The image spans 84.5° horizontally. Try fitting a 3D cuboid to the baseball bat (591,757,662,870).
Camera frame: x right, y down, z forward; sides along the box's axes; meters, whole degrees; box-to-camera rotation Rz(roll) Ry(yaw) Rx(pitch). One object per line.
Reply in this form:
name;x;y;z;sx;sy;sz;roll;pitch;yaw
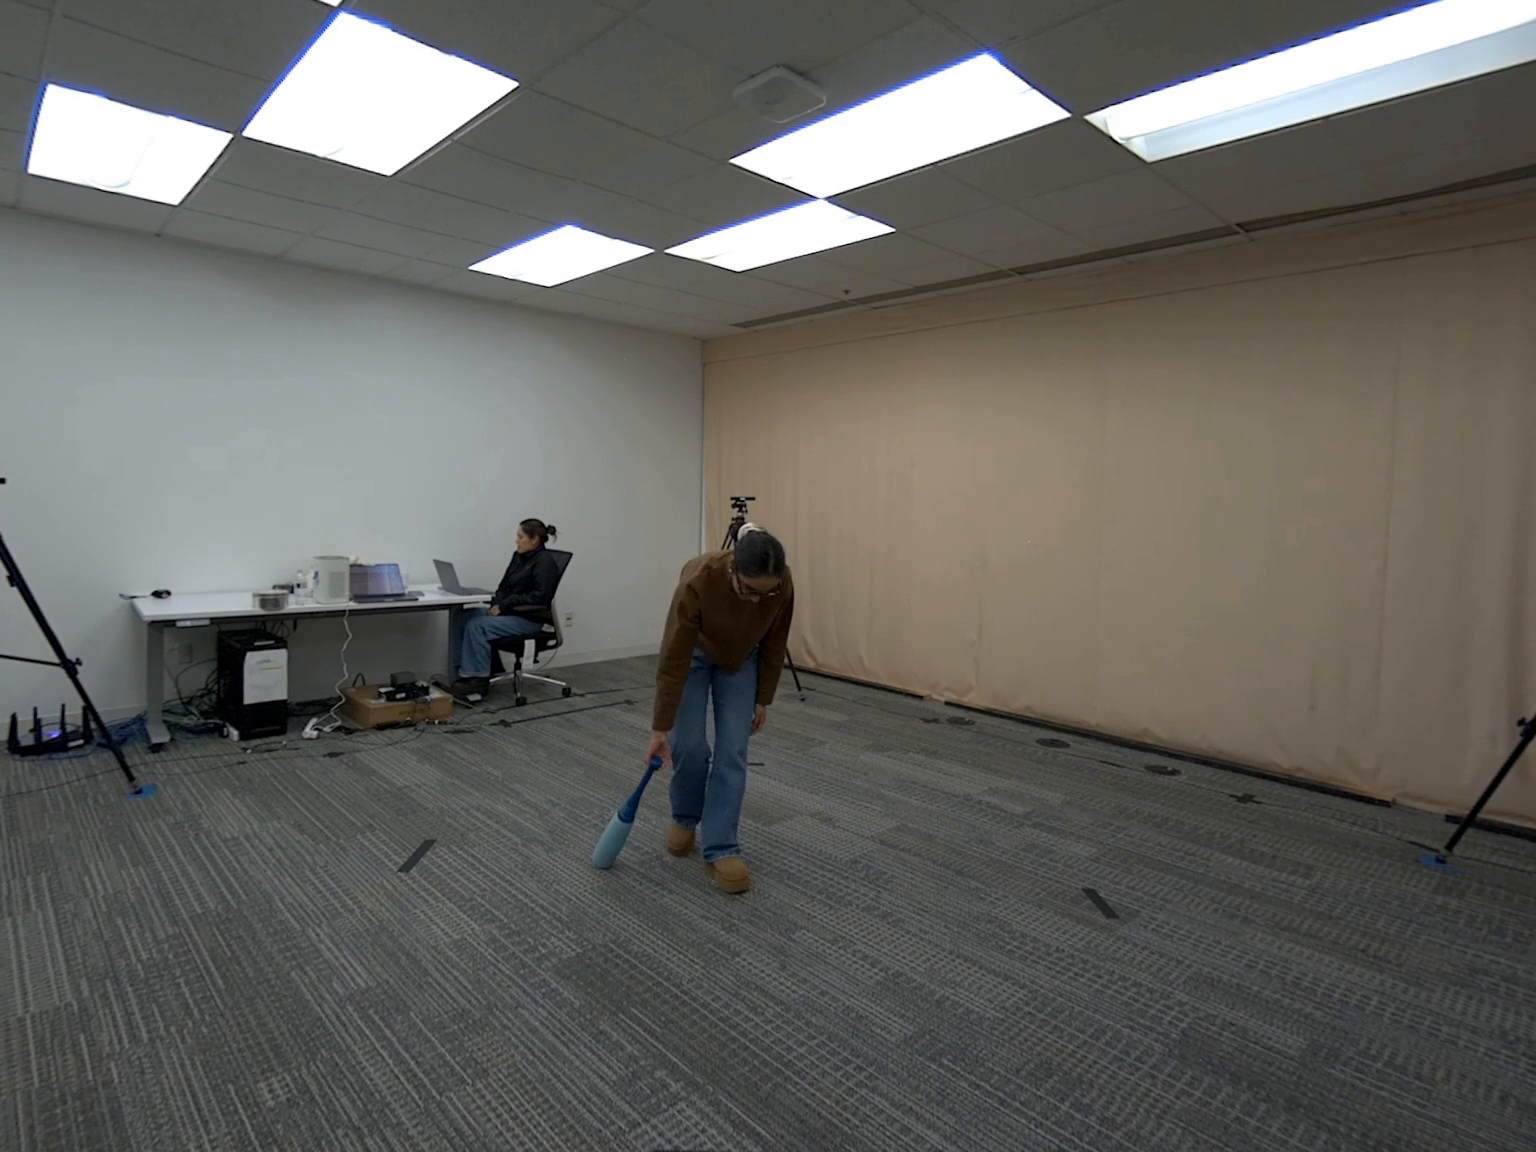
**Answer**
baseball bat;-0.514;0.861;3.050;0.088;0.539;0.091;21;26;-13
